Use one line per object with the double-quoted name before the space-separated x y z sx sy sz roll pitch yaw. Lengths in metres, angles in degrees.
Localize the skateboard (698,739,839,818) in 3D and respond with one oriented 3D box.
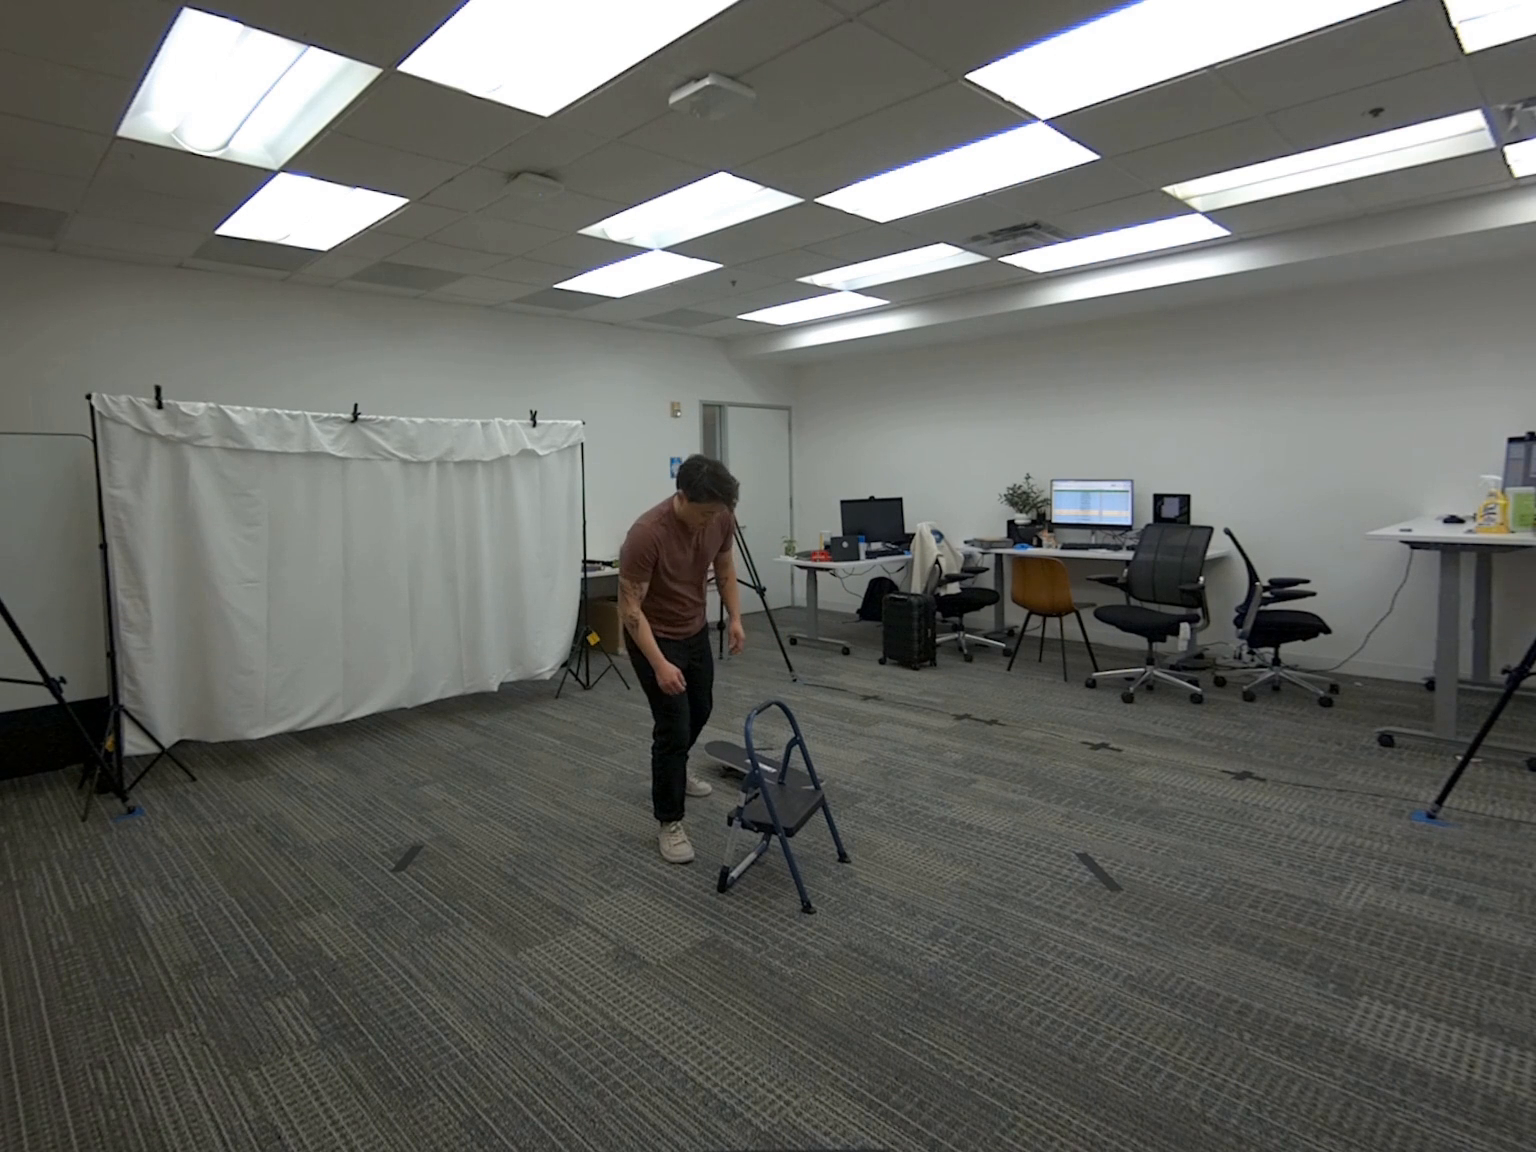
"skateboard" -0.021 0.906 3.916 0.188 0.110 0.809 -5 7 -36
